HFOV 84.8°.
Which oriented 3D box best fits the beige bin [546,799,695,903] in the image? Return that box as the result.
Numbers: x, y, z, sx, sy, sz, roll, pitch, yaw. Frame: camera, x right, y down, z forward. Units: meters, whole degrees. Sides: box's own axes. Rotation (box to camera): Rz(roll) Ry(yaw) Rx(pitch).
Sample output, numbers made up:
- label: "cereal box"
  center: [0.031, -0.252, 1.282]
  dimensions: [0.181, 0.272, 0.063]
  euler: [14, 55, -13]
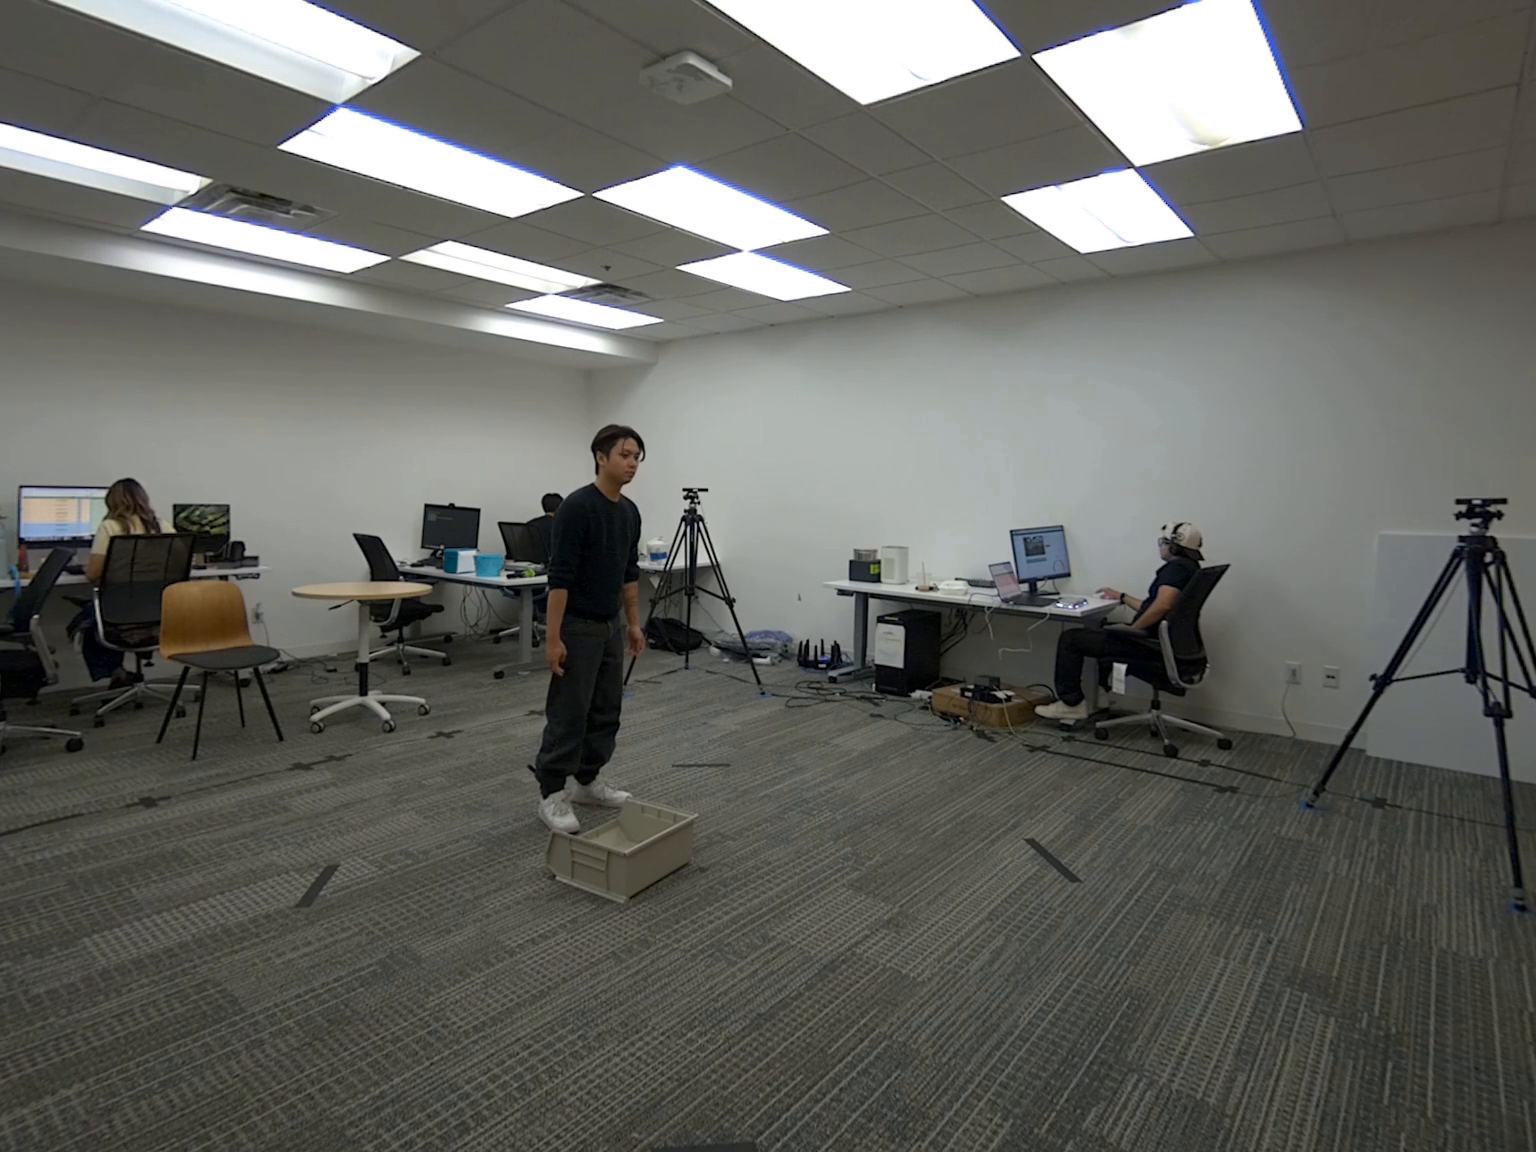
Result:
- label: "beige bin"
  center: [-0.537, 0.976, 3.092]
  dimensions: [0.389, 0.188, 0.411]
  euler: [5, 6, 31]
